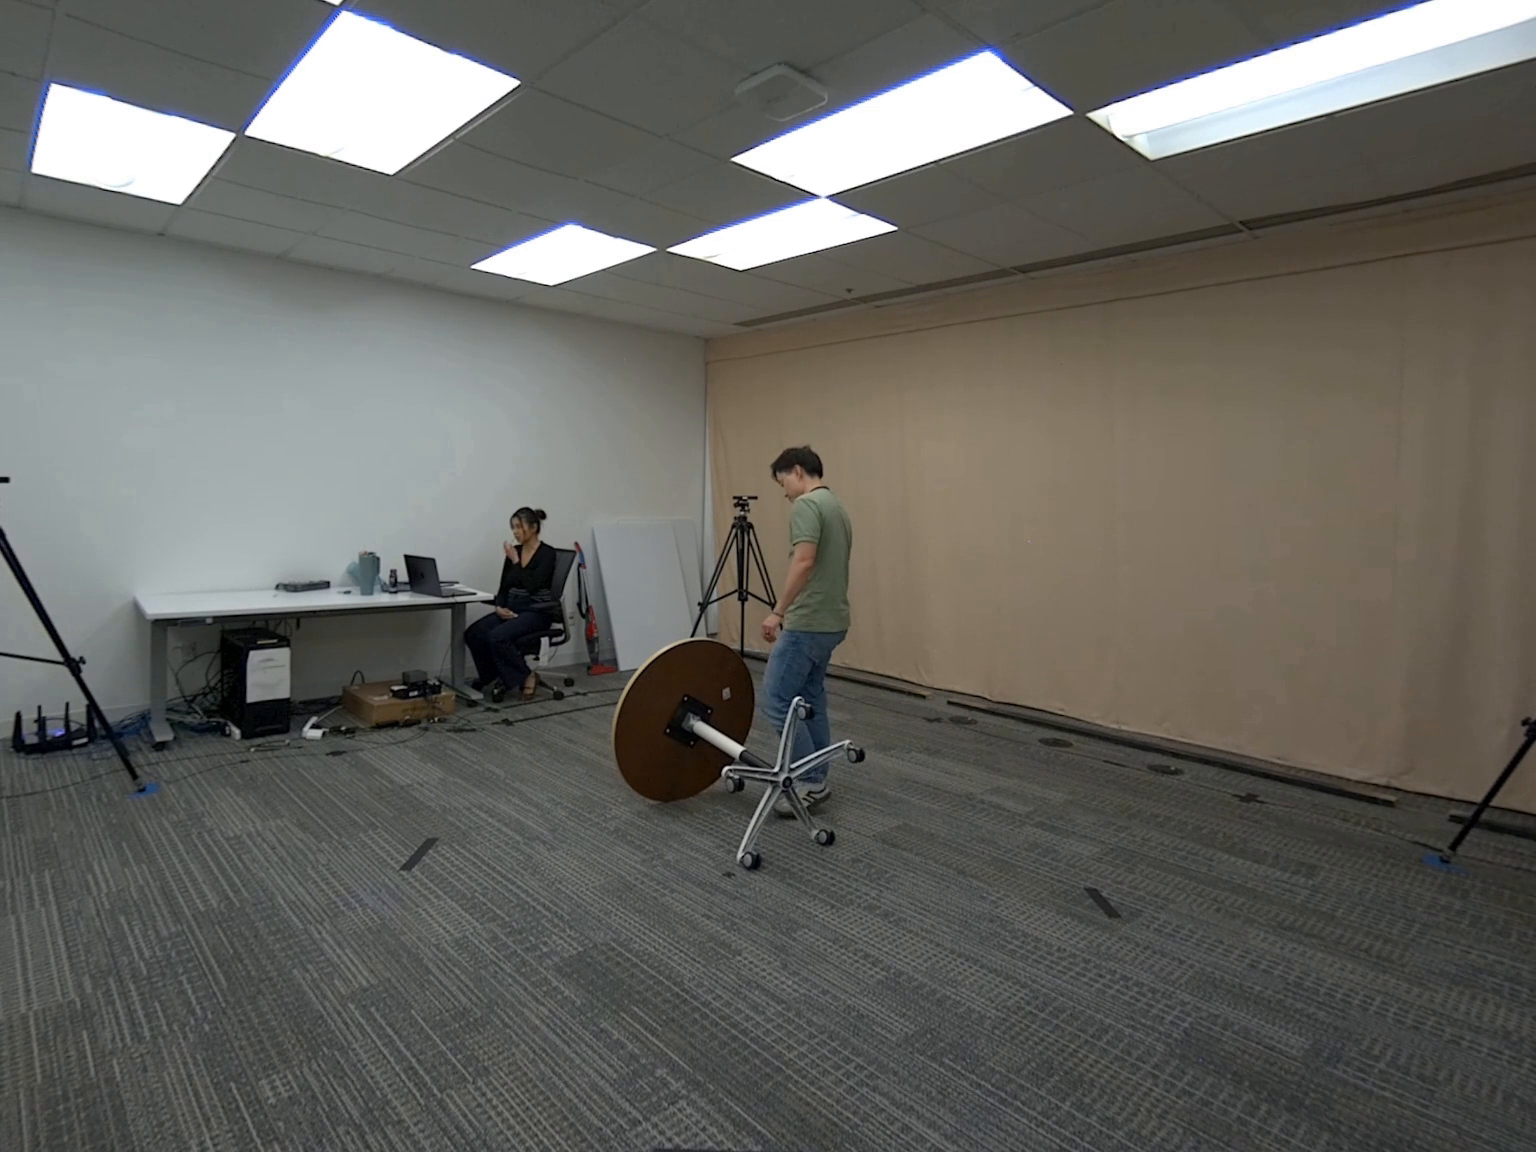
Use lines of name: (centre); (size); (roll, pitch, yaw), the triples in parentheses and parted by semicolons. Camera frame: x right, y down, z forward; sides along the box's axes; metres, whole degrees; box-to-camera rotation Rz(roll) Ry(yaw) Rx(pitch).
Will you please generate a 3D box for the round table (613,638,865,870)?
round table: (-0.135, 0.735, 3.514); (0.747, 0.759, 0.817); (-2, 13, -39)
